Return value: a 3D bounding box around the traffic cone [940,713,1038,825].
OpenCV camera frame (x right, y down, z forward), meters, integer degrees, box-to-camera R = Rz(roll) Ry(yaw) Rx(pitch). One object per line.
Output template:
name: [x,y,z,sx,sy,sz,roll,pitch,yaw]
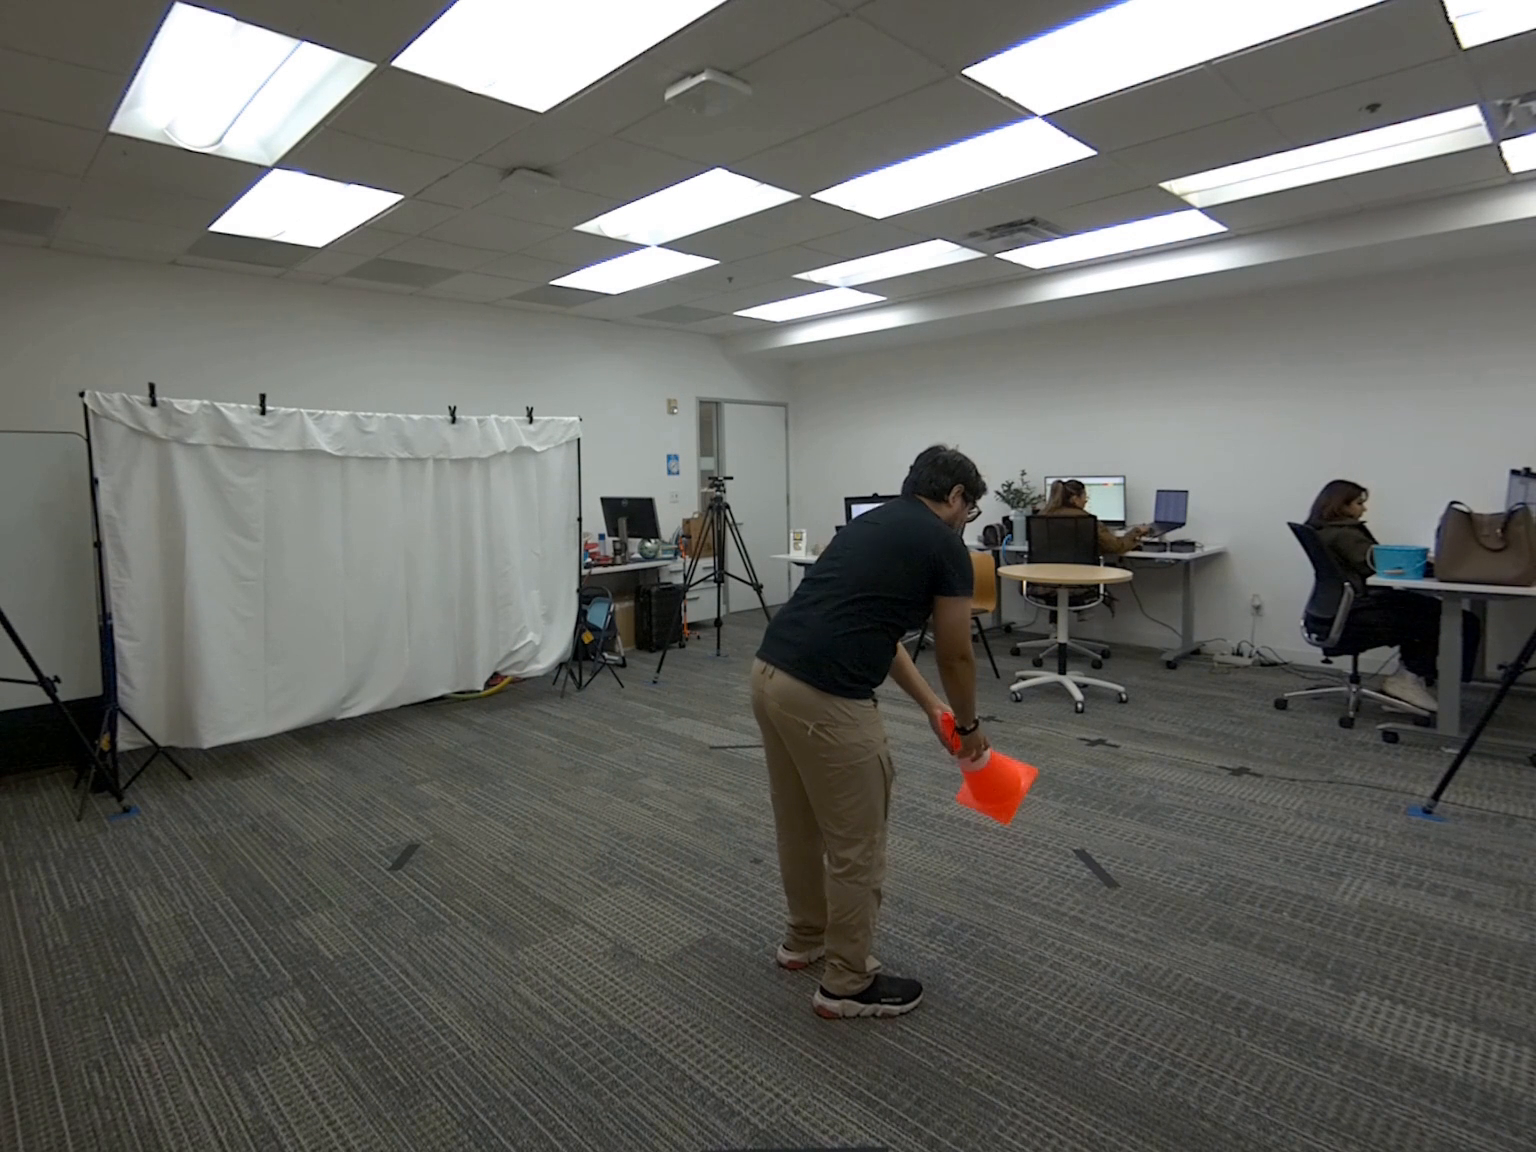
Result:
traffic cone: [0.604,0.523,2.537,0.210,0.205,0.371,12,-32,54]
